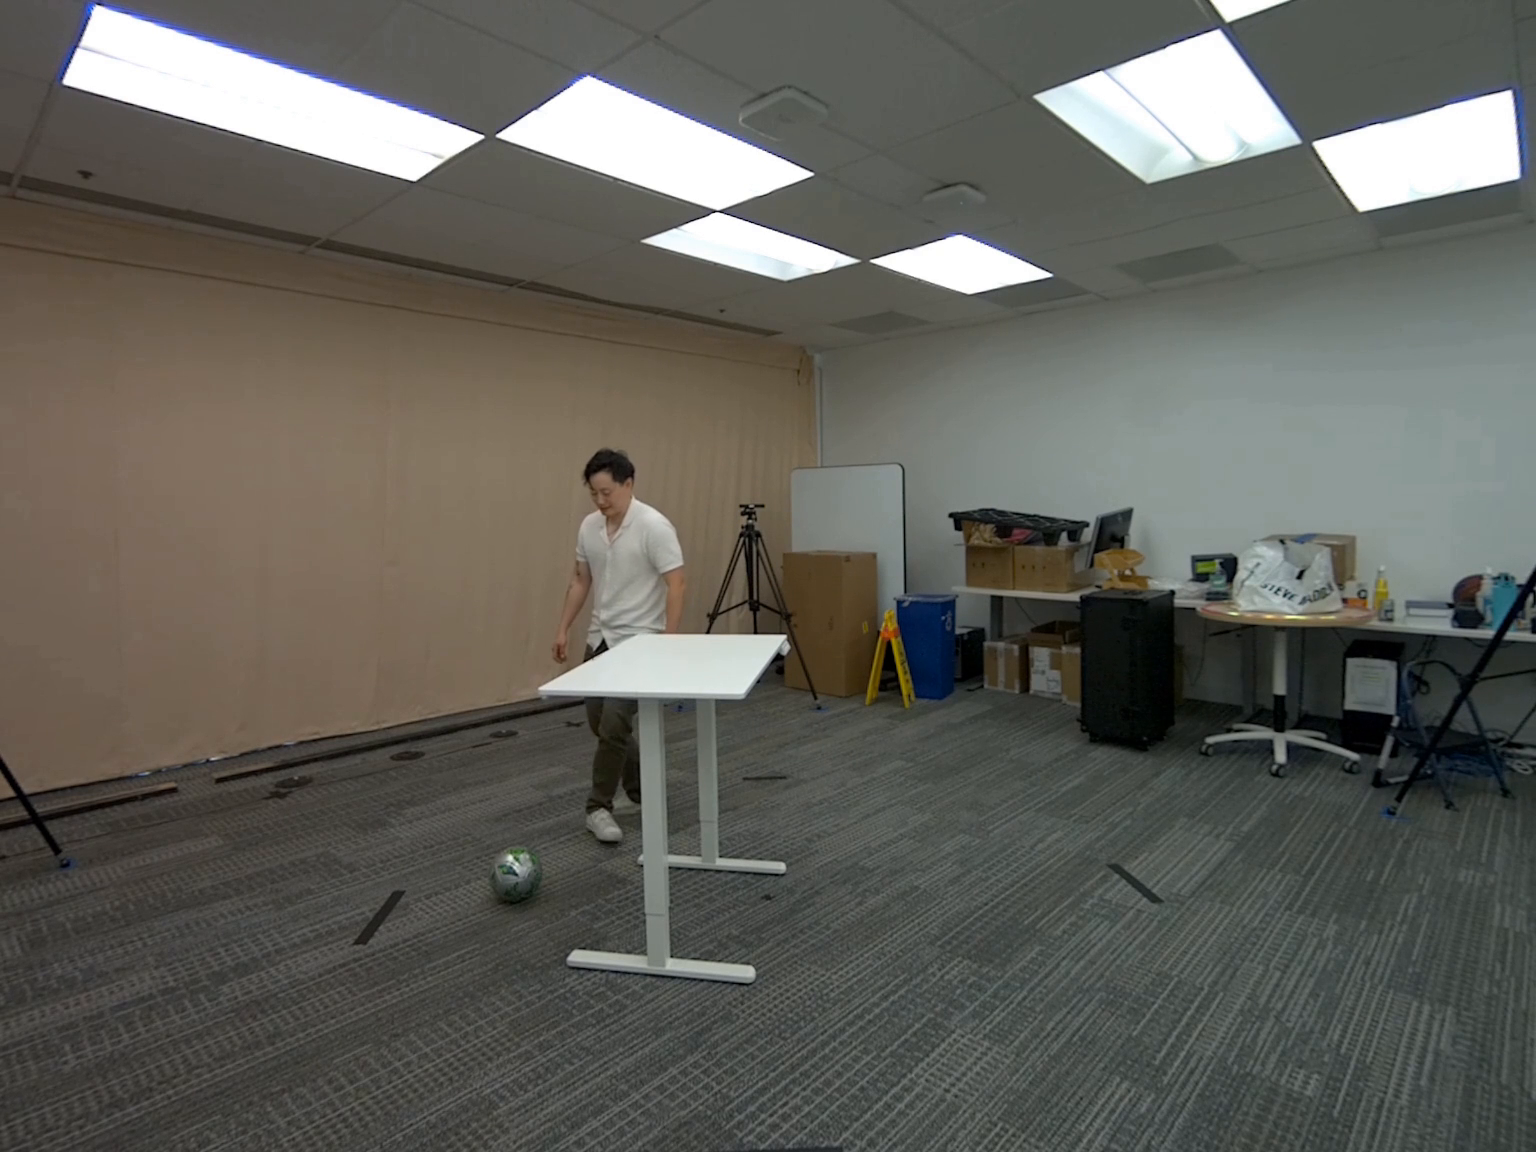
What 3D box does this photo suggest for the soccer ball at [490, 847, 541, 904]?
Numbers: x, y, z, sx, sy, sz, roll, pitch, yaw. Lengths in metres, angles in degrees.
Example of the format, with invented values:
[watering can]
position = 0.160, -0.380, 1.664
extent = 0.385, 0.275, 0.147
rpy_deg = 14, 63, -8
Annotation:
[soccer ball]
position = -0.901, 1.060, 3.018
extent = 0.187, 0.187, 0.188
rpy_deg = -1, 4, -2
